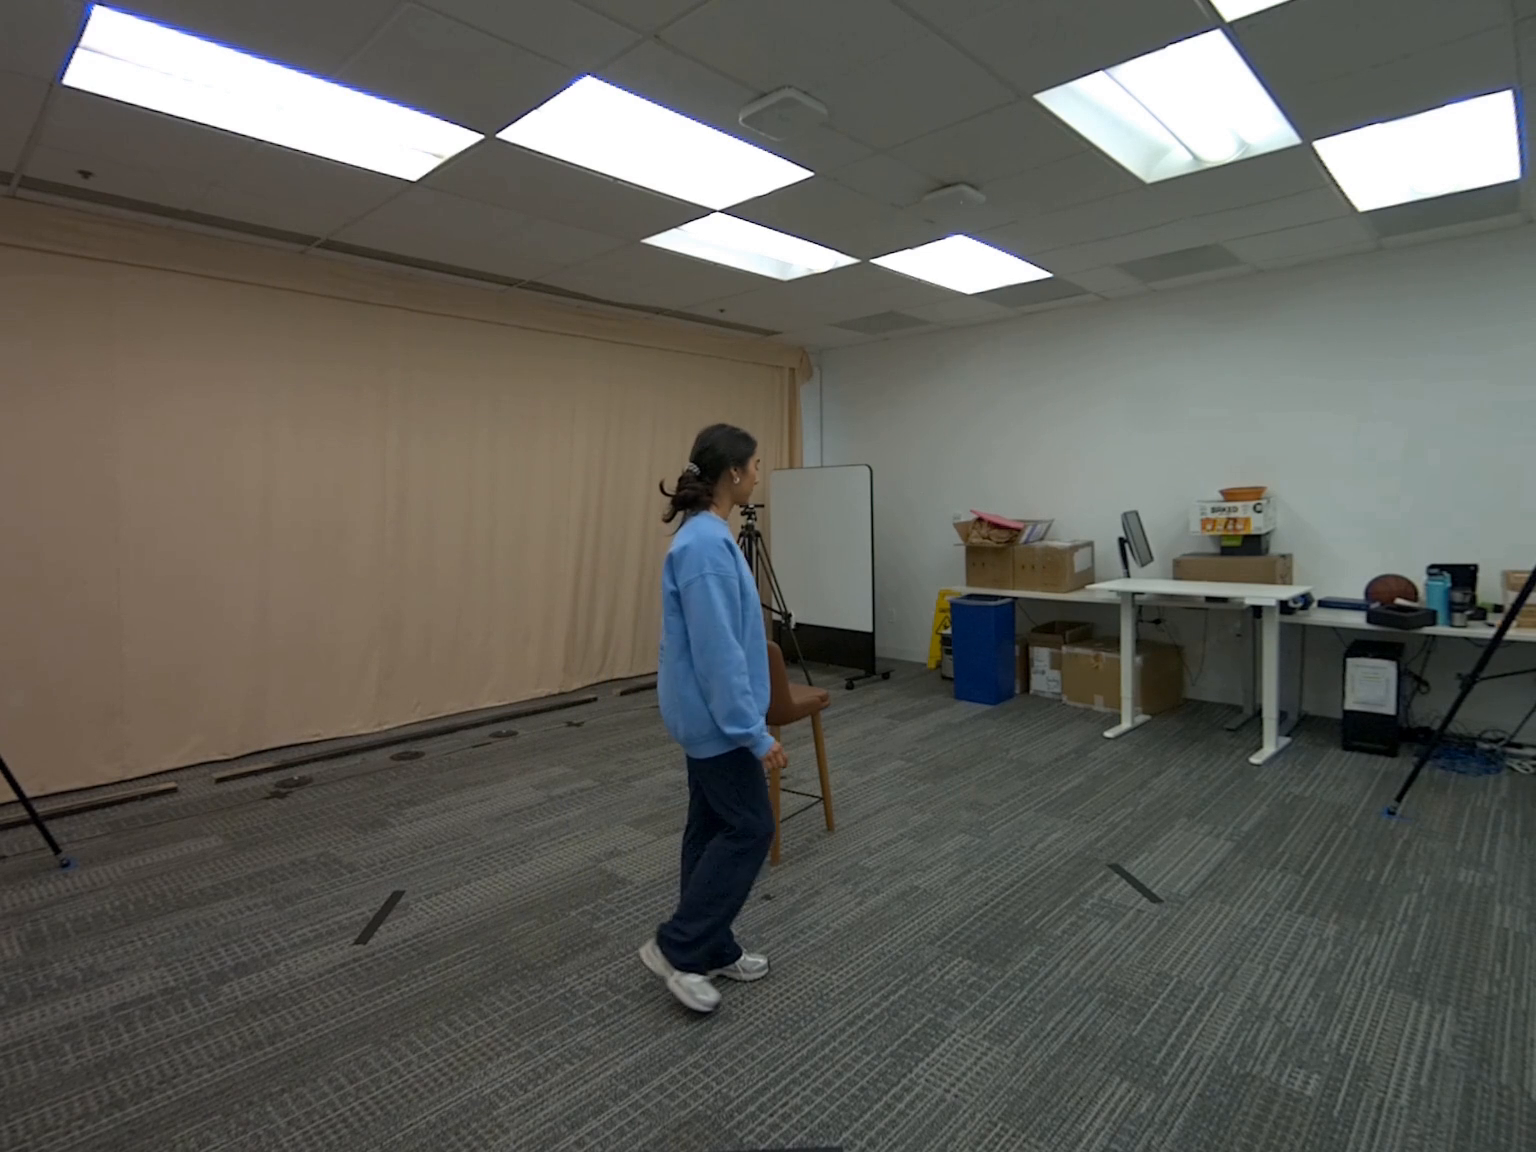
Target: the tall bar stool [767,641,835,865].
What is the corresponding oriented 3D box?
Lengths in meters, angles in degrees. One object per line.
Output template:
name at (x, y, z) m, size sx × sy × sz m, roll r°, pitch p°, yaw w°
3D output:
tall bar stool at (-0.013, 0.658, 3.501) m, size 0.471 × 0.887 × 0.454 m, roll 1°, pitch 6°, yaw 35°
